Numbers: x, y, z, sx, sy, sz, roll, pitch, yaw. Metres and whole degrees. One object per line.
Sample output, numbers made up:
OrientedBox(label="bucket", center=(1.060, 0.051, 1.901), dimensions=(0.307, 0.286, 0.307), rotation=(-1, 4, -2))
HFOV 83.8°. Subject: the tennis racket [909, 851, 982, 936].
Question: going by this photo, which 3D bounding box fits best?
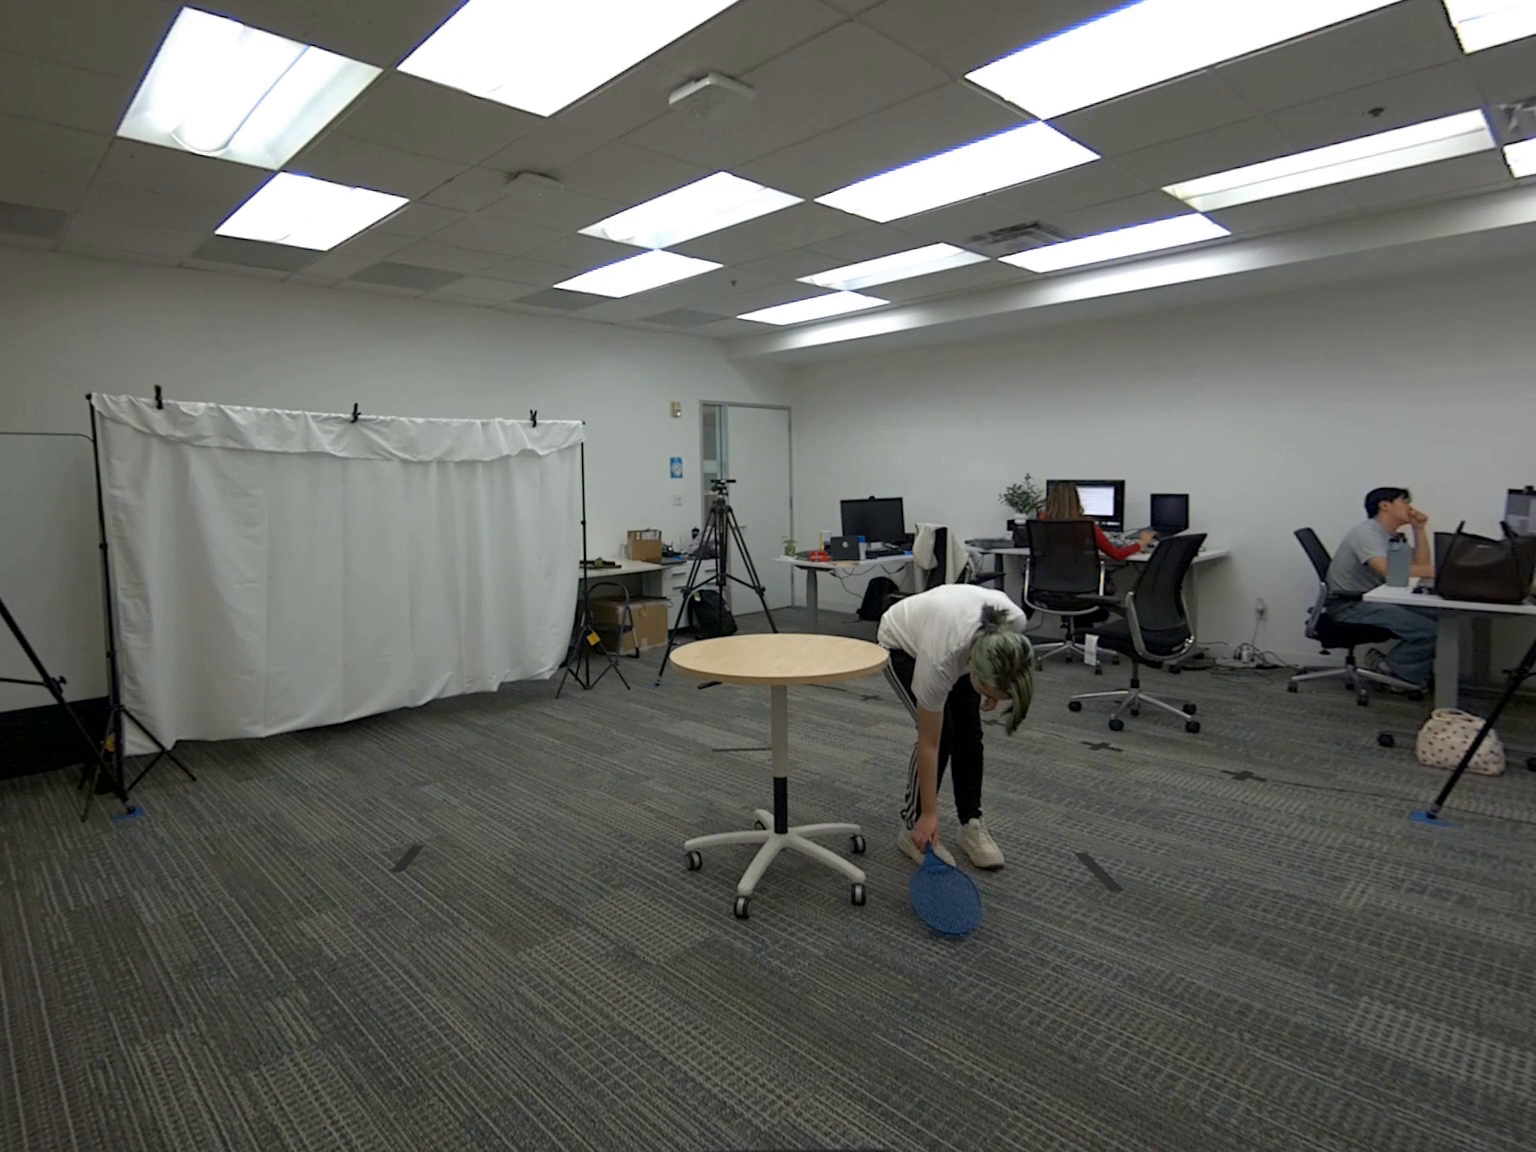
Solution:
OrientedBox(label="tennis racket", center=(0.553, 0.963, 2.740), dimensions=(0.214, 0.031, 0.443), rotation=(-7, 29, 0))
